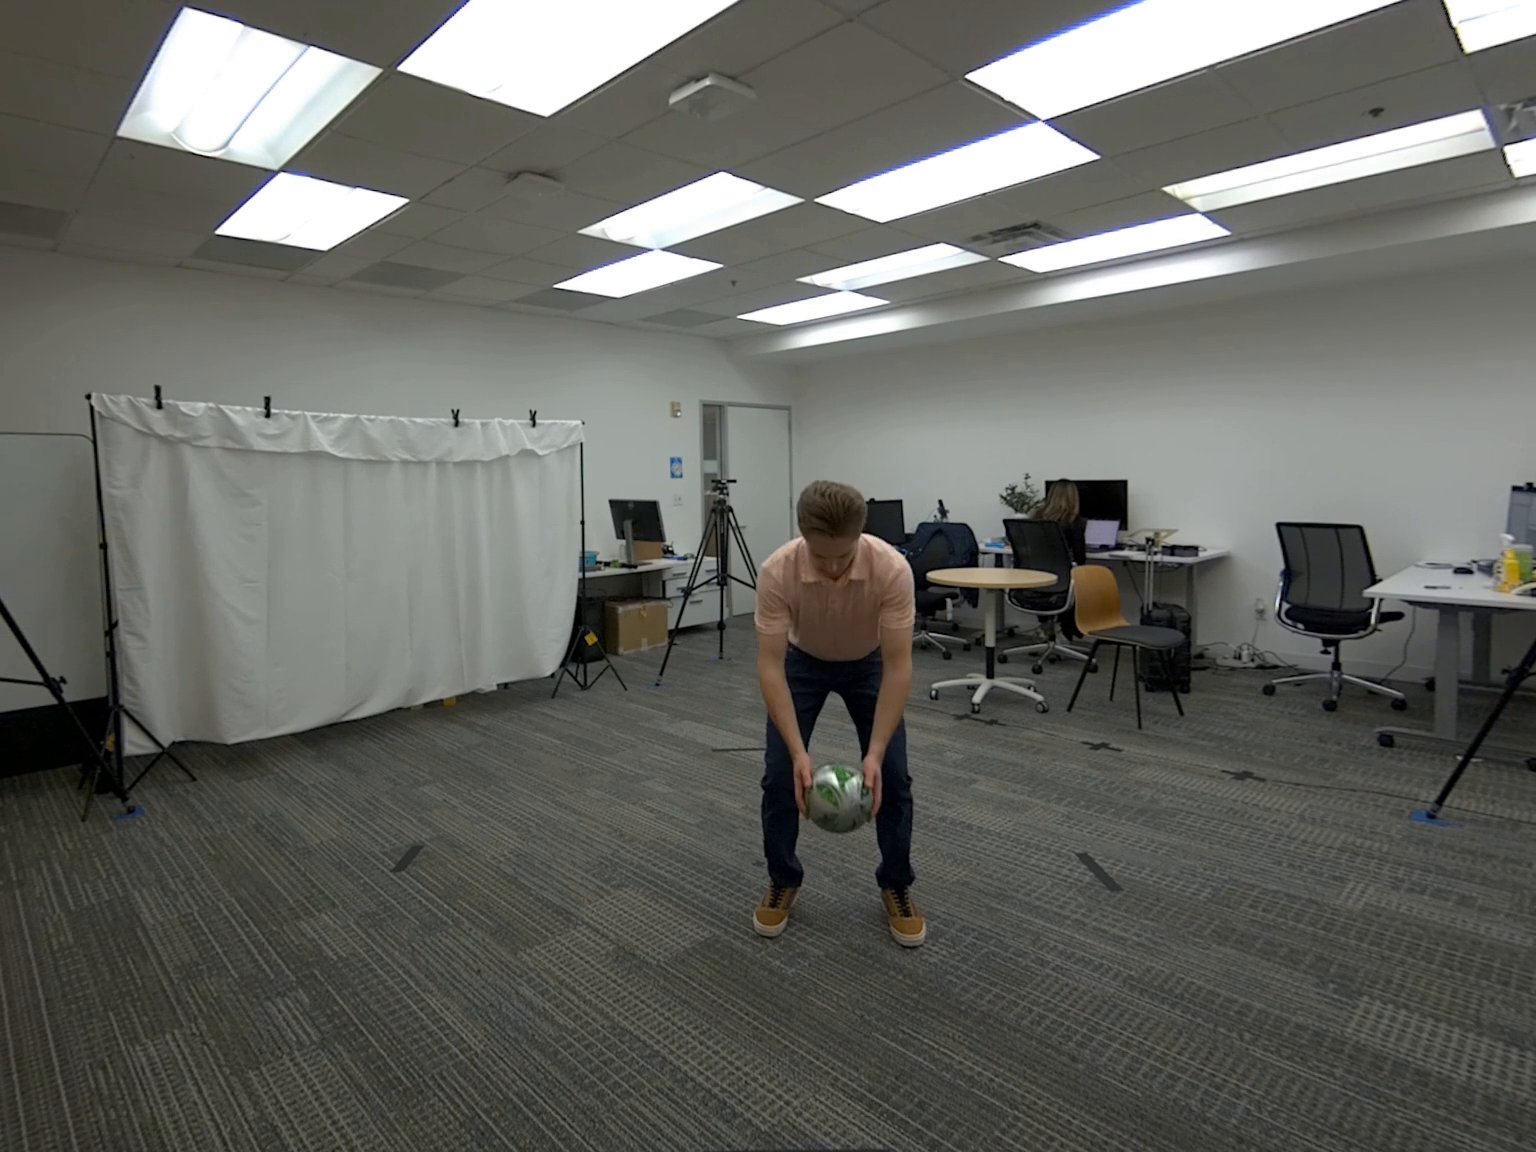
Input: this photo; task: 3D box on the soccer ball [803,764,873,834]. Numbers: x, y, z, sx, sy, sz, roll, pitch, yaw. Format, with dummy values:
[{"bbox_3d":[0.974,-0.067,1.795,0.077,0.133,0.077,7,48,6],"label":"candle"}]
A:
[{"bbox_3d":[0.193,0.605,2.316,0.187,0.187,0.188,-1,5,-2],"label":"soccer ball"}]
